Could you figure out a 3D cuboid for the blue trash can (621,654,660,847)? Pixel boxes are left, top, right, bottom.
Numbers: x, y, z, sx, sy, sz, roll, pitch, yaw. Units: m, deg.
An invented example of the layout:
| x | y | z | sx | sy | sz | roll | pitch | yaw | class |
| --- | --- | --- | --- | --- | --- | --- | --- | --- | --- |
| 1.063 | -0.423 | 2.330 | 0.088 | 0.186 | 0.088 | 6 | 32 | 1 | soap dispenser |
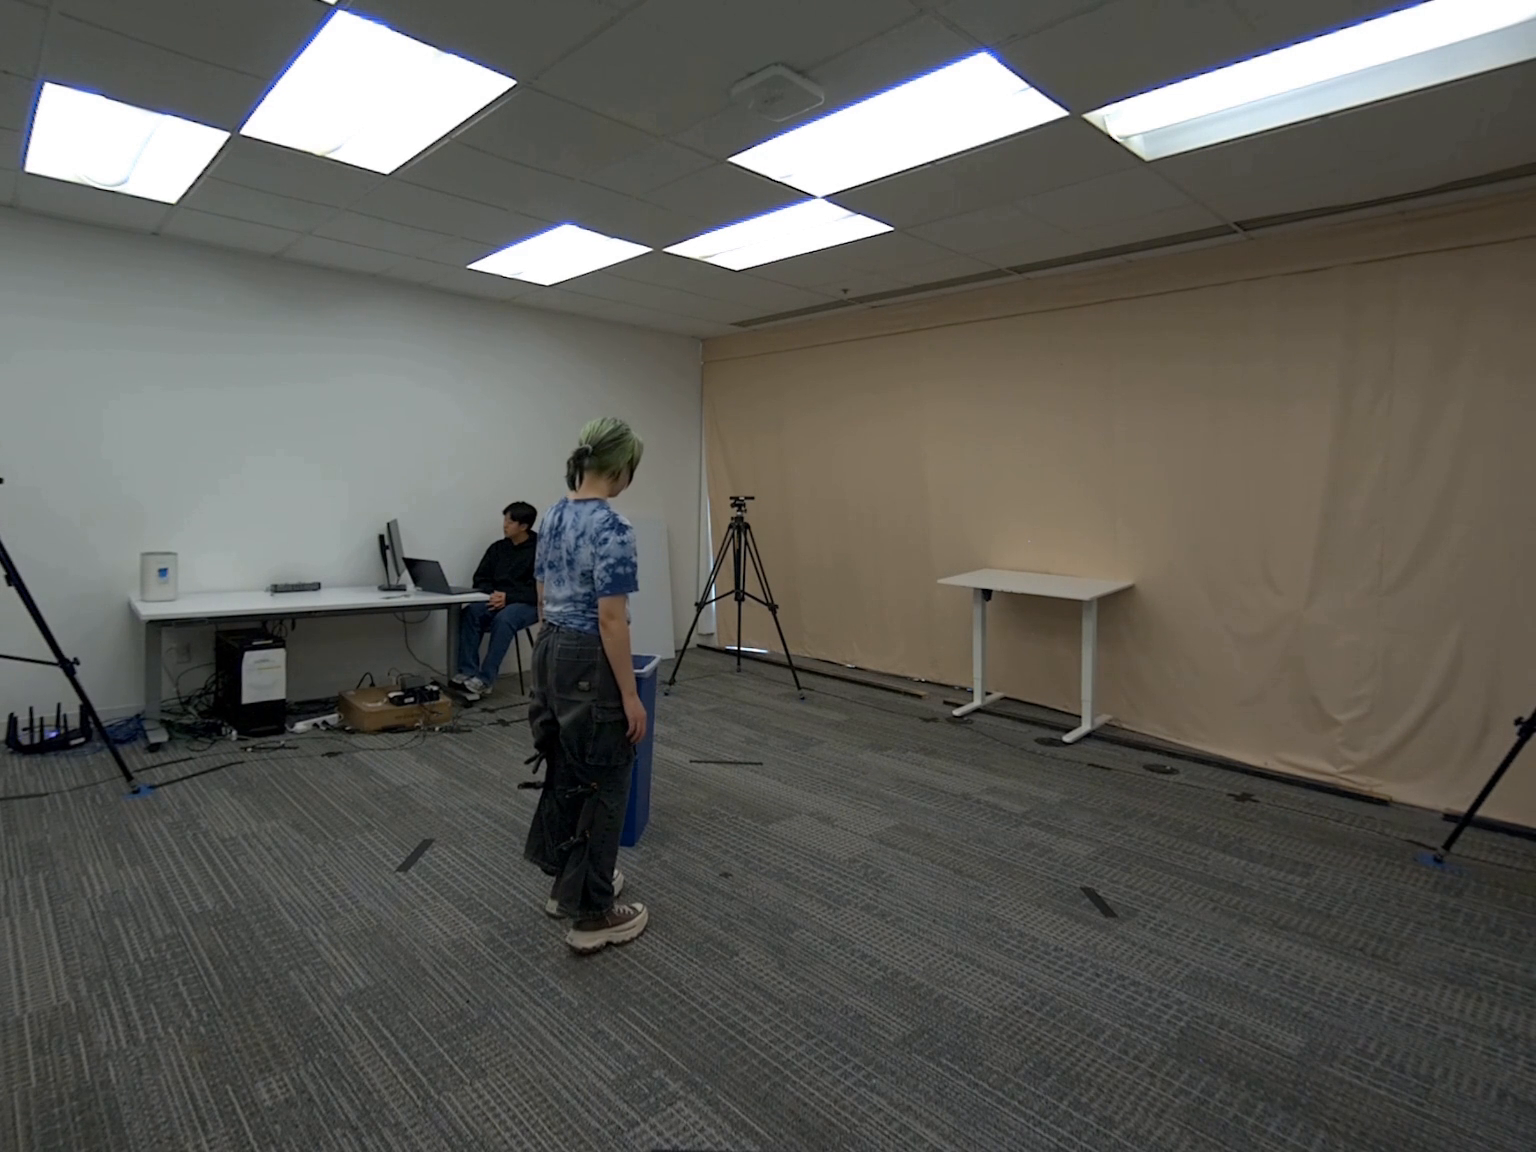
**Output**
| x | y | z | sx | sy | sz | roll | pitch | yaw | class |
| --- | --- | --- | --- | --- | --- | --- | --- | --- | --- |
| -0.663 | 0.707 | 3.480 | 0.376 | 0.712 | 0.377 | 2 | 4 | 5 | blue trash can |
